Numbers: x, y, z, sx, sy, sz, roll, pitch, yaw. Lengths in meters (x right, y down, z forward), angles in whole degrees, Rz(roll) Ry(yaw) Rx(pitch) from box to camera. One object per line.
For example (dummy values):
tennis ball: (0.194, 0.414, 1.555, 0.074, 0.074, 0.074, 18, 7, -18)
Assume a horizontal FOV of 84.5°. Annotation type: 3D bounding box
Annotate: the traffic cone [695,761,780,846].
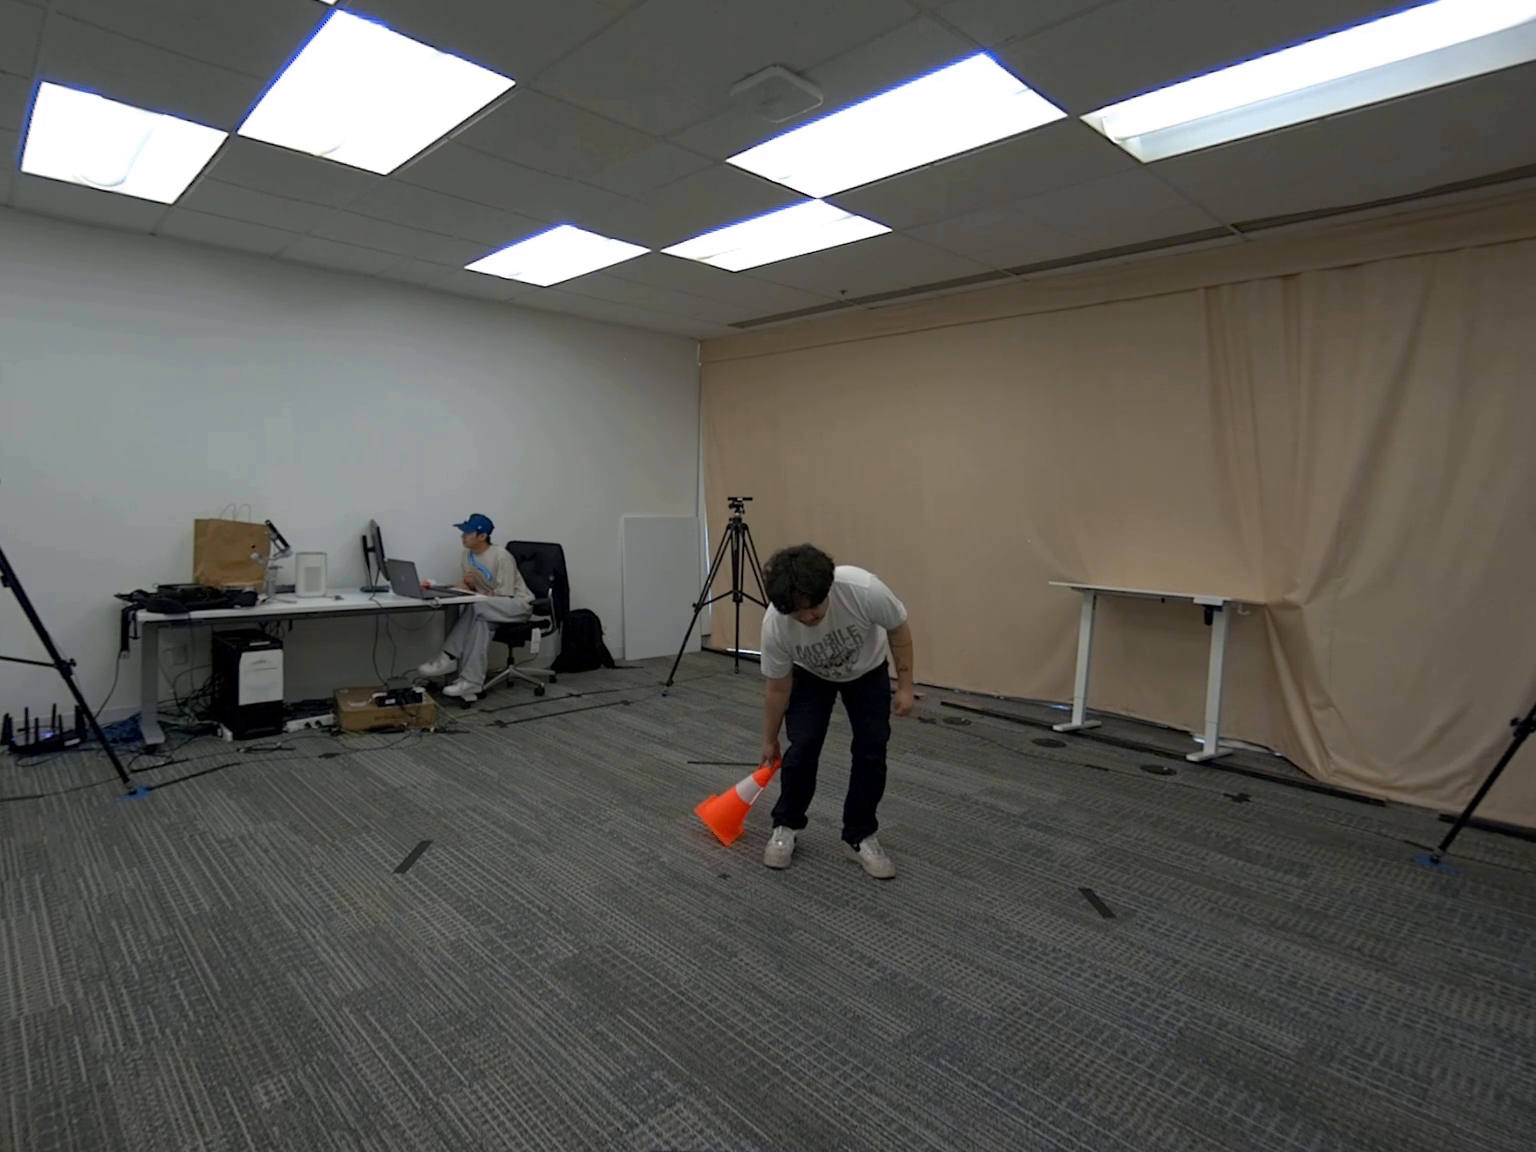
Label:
traffic cone: (-0.087, 0.877, 3.425, 0.206, 0.383, 0.202, 45, 18, 12)
